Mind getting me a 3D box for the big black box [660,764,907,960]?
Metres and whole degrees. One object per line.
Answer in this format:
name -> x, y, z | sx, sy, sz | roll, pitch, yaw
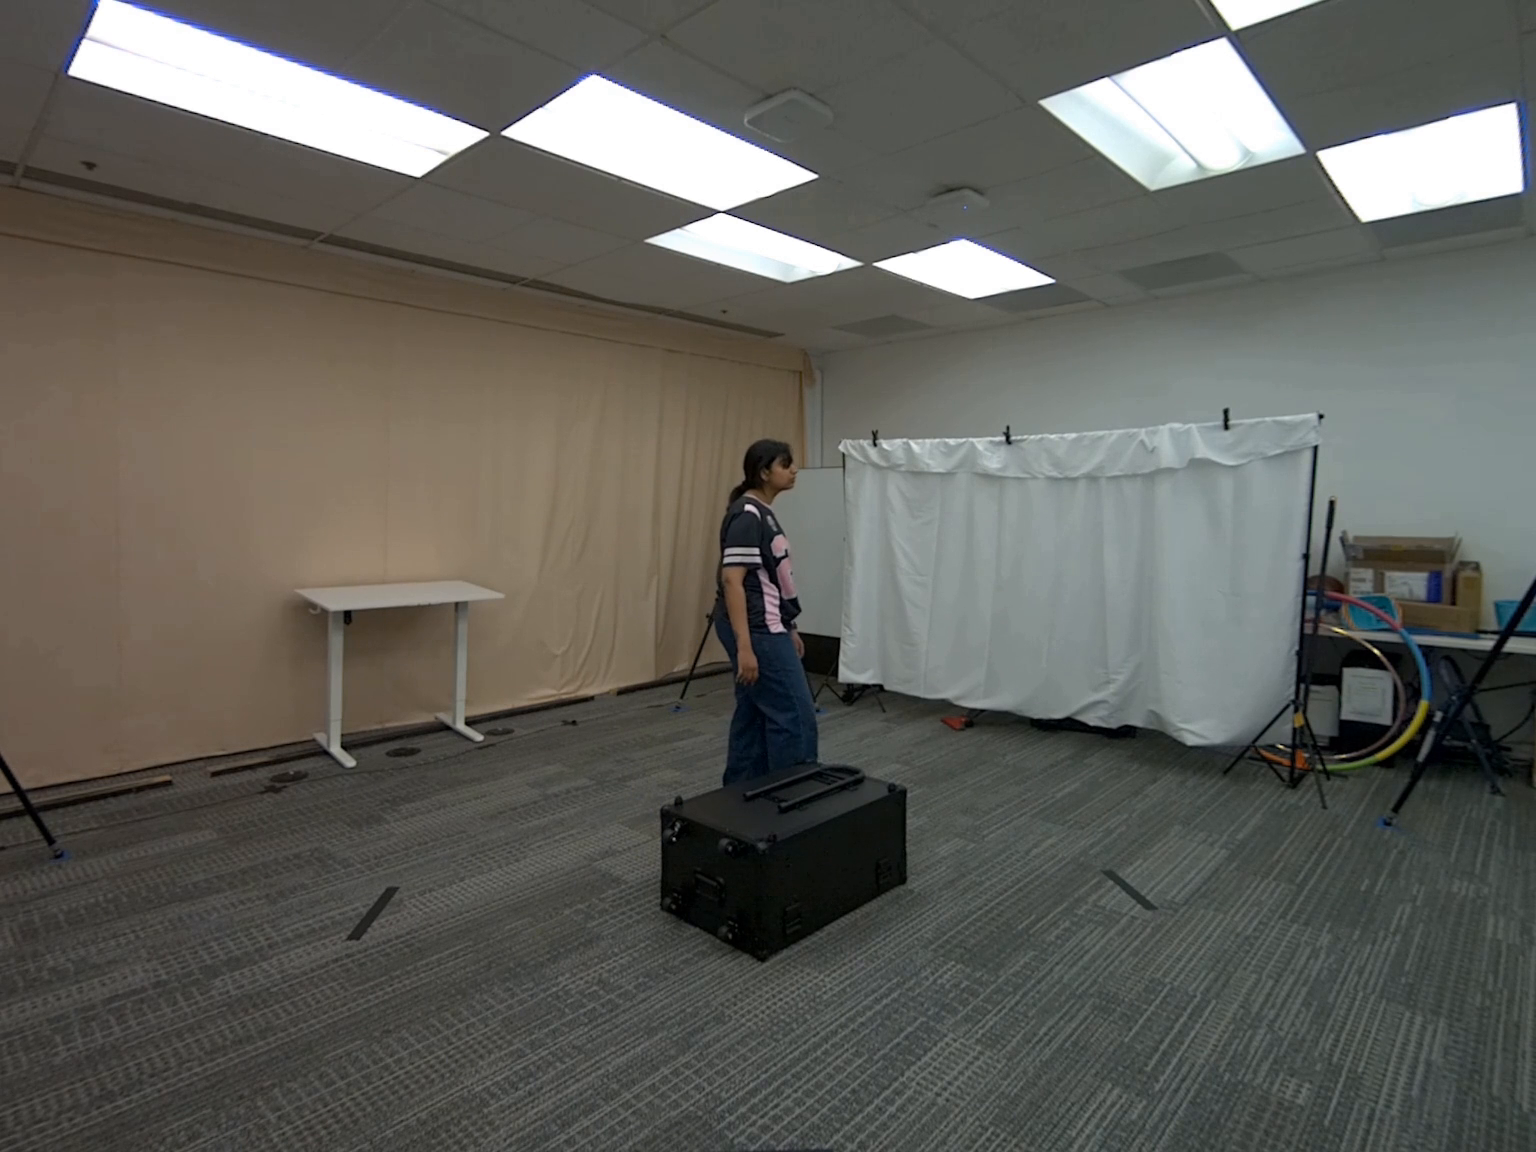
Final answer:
big black box -> 0.056, 0.962, 2.966 | 0.541, 0.384, 0.842 | 5, 7, 44
